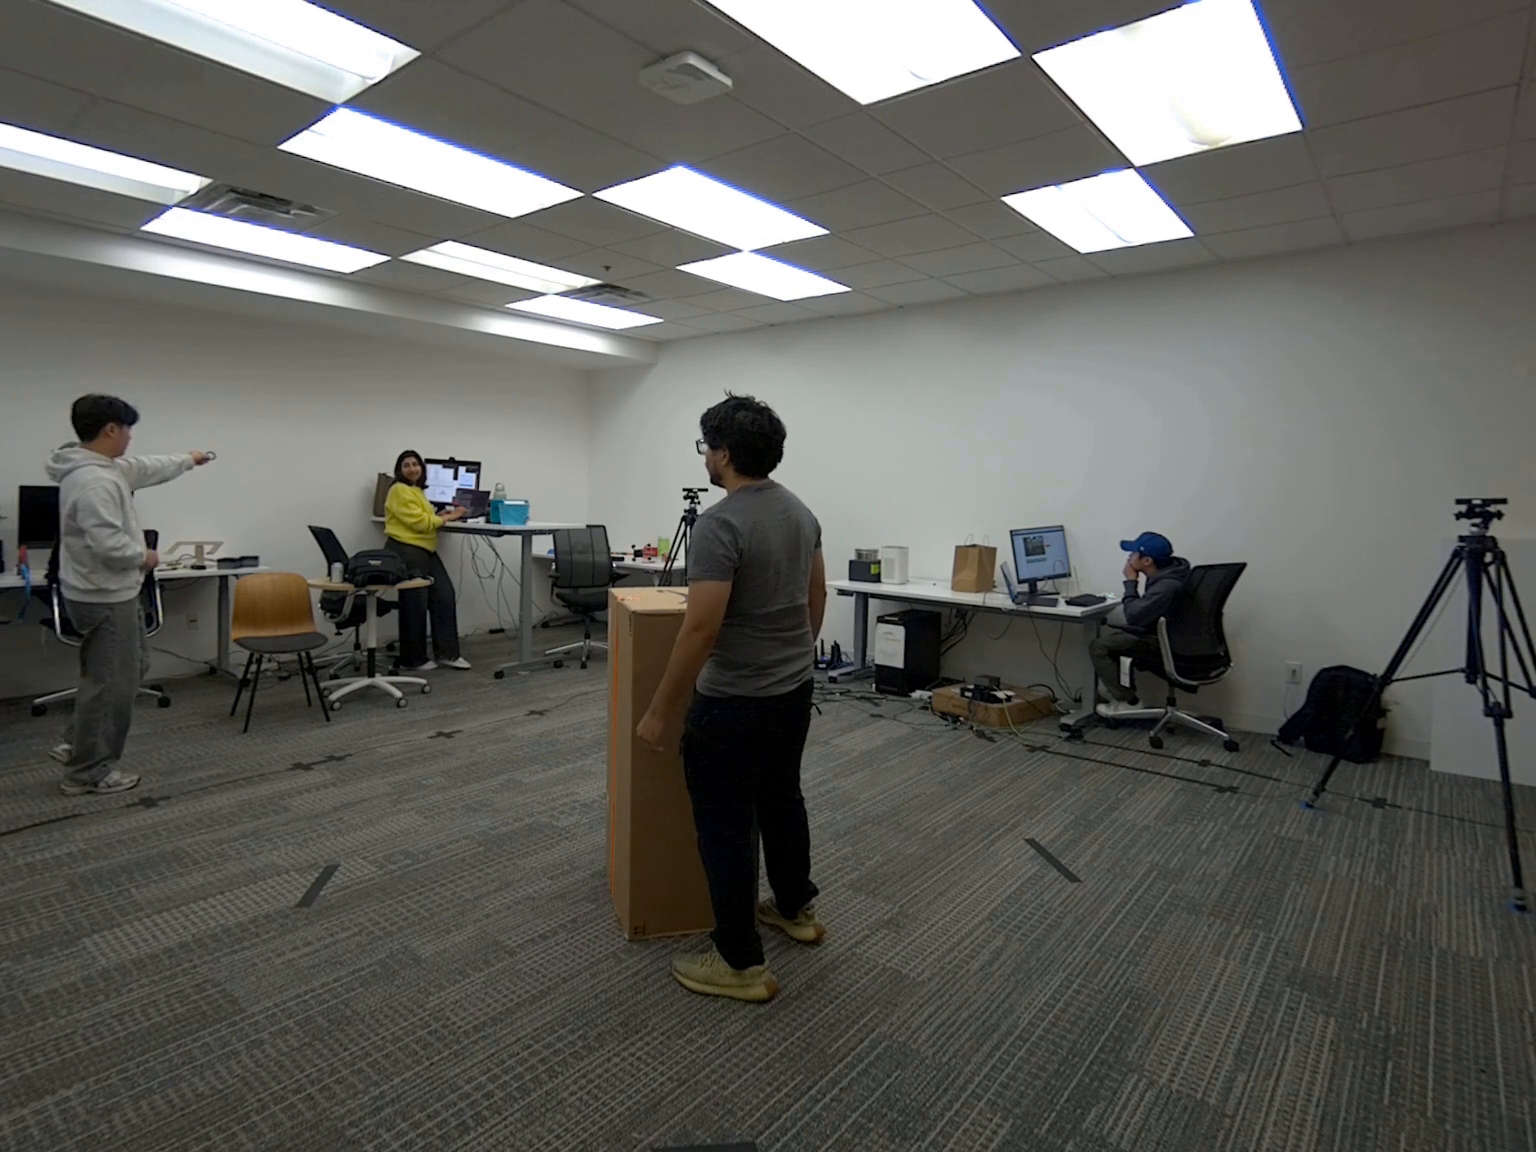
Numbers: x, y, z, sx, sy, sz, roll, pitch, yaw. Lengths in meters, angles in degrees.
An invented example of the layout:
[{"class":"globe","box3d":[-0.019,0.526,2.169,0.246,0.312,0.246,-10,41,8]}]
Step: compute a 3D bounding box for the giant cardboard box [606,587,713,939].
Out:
[{"class":"giant cardboard box","box3d":[-0.321,0.577,2.899,0.439,1.024,0.595,0,3,-17]}]
